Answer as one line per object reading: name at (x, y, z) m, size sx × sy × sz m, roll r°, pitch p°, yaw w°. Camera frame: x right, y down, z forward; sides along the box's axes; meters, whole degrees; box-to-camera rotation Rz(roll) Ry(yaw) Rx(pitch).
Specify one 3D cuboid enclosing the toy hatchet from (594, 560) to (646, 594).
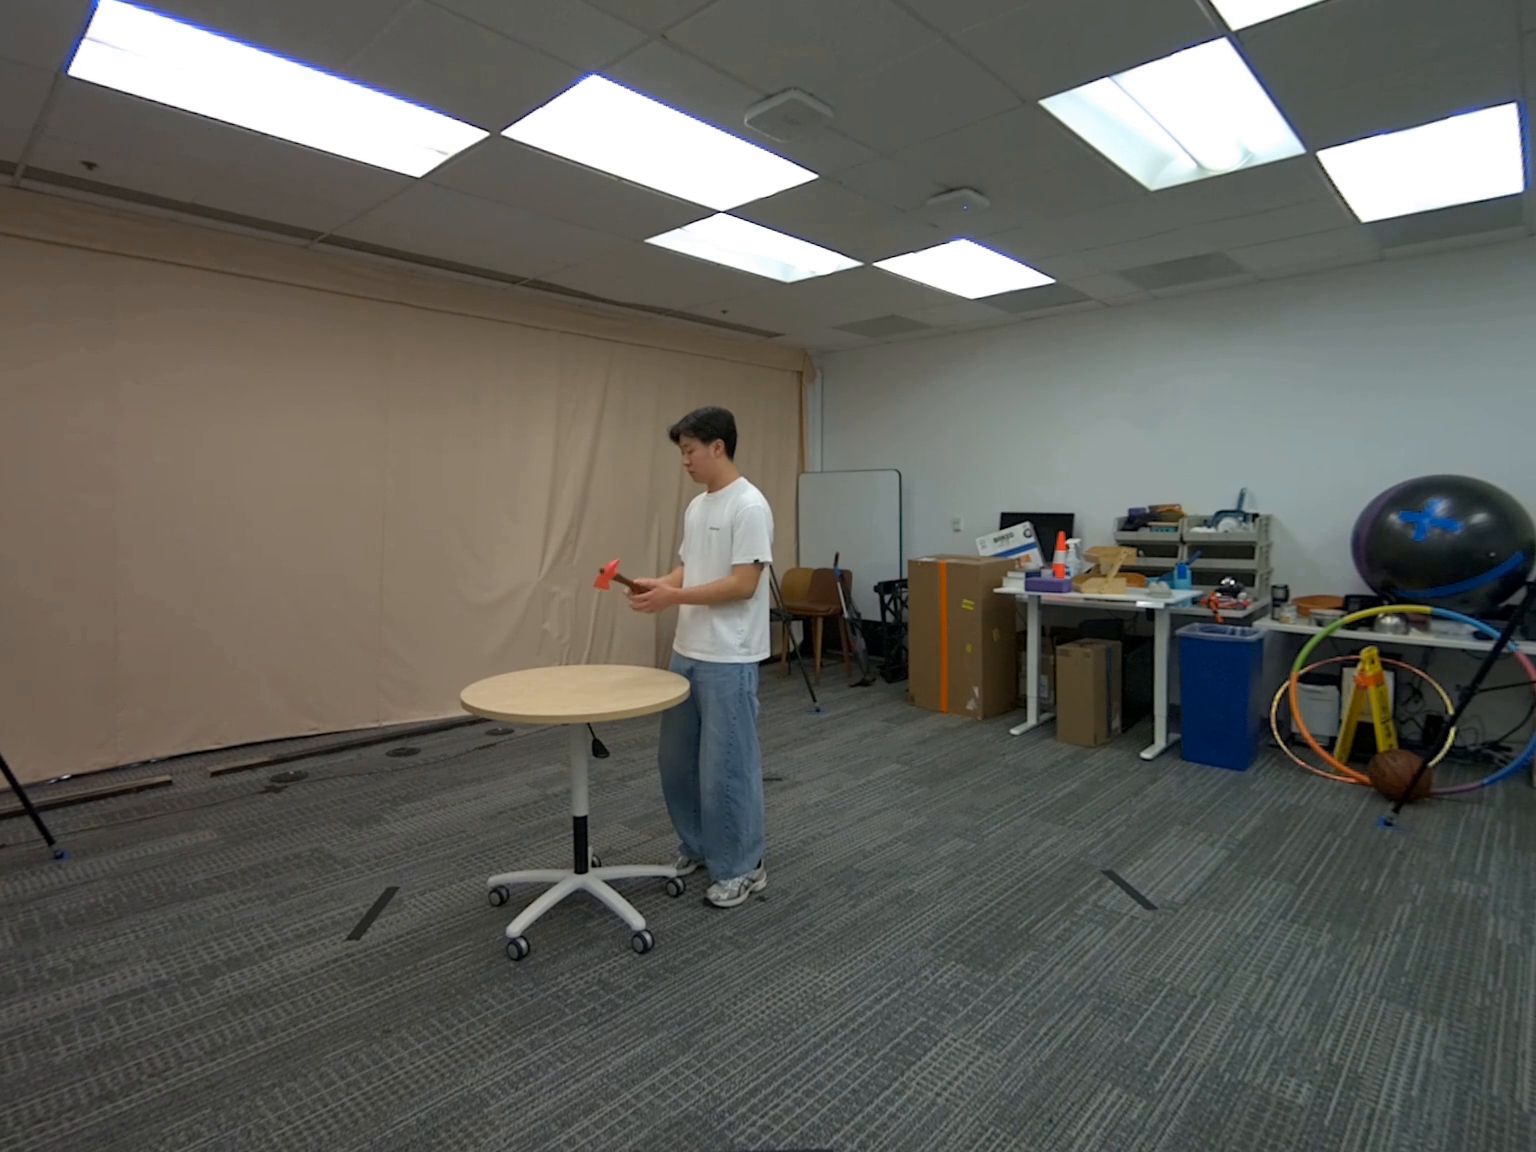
toy hatchet at (-0.516, 0.051, 2.967) m, size 0.131 × 0.261 × 0.030 m, roll -35°, pitch 46°, yaw -2°
